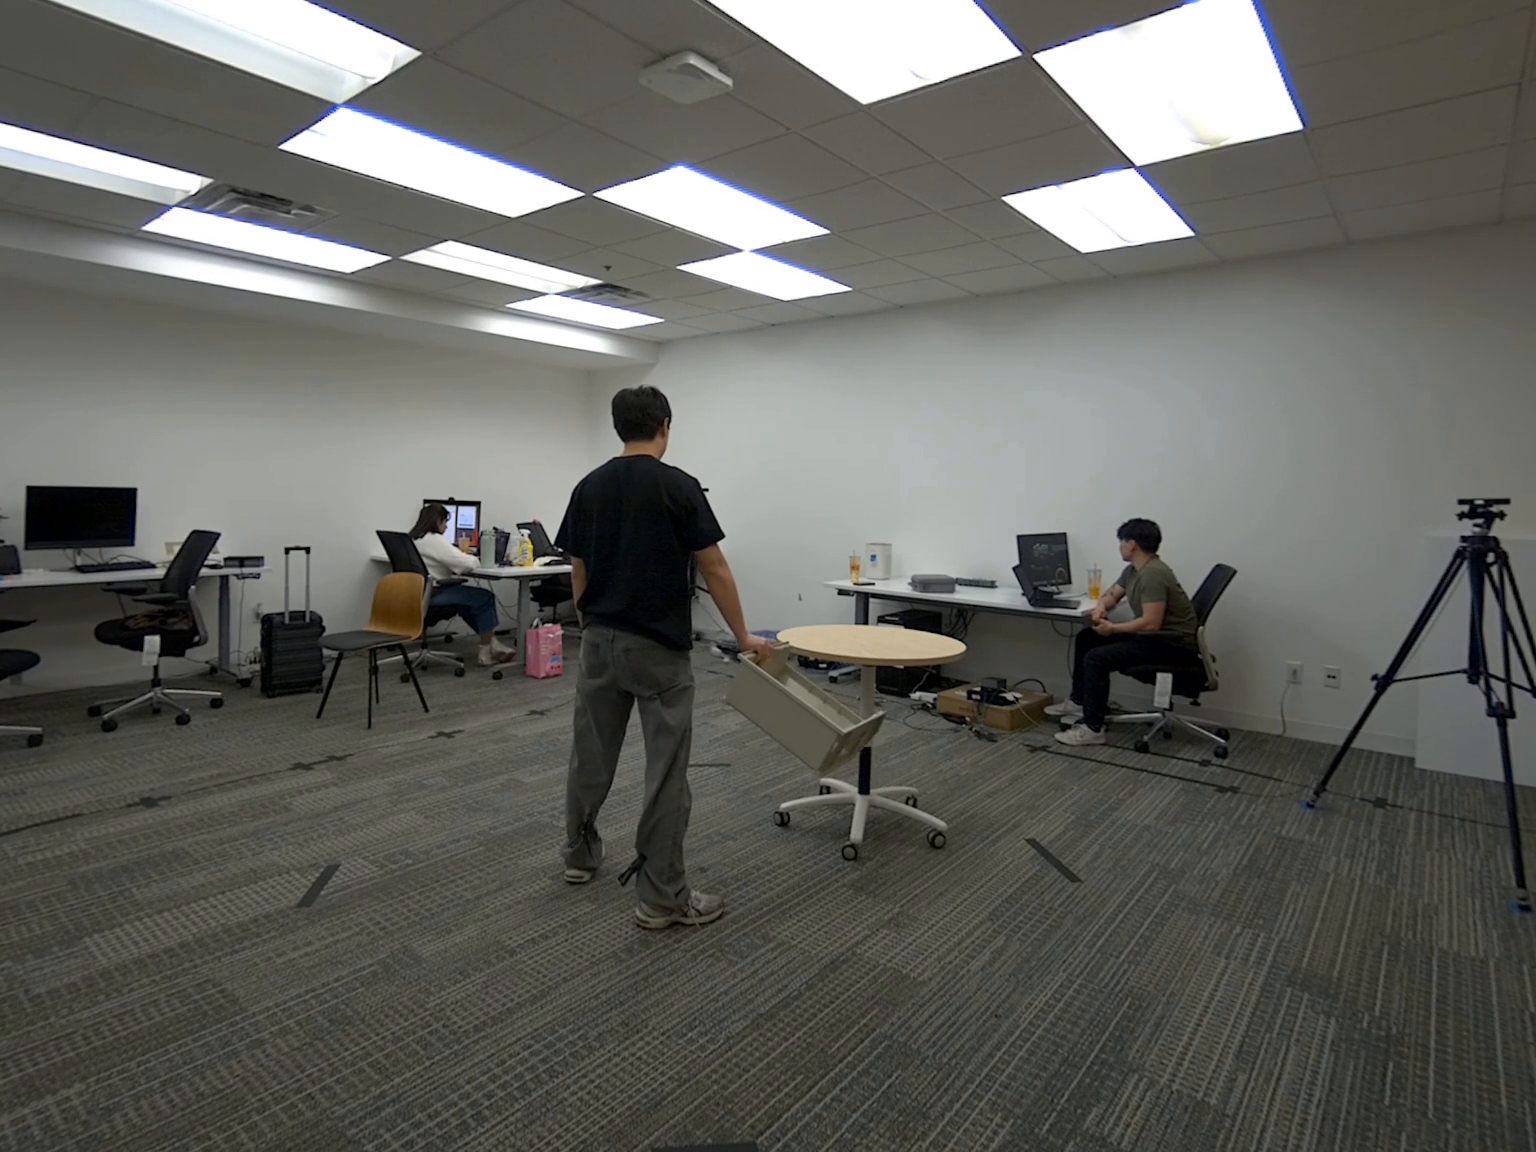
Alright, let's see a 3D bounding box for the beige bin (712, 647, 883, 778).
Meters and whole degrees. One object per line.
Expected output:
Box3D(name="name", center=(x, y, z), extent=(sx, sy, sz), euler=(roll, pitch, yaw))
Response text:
Box3D(name="beige bin", center=(0.117, 0.419, 2.781), extent=(0.437, 0.187, 0.367), euler=(33, 20, 26))
